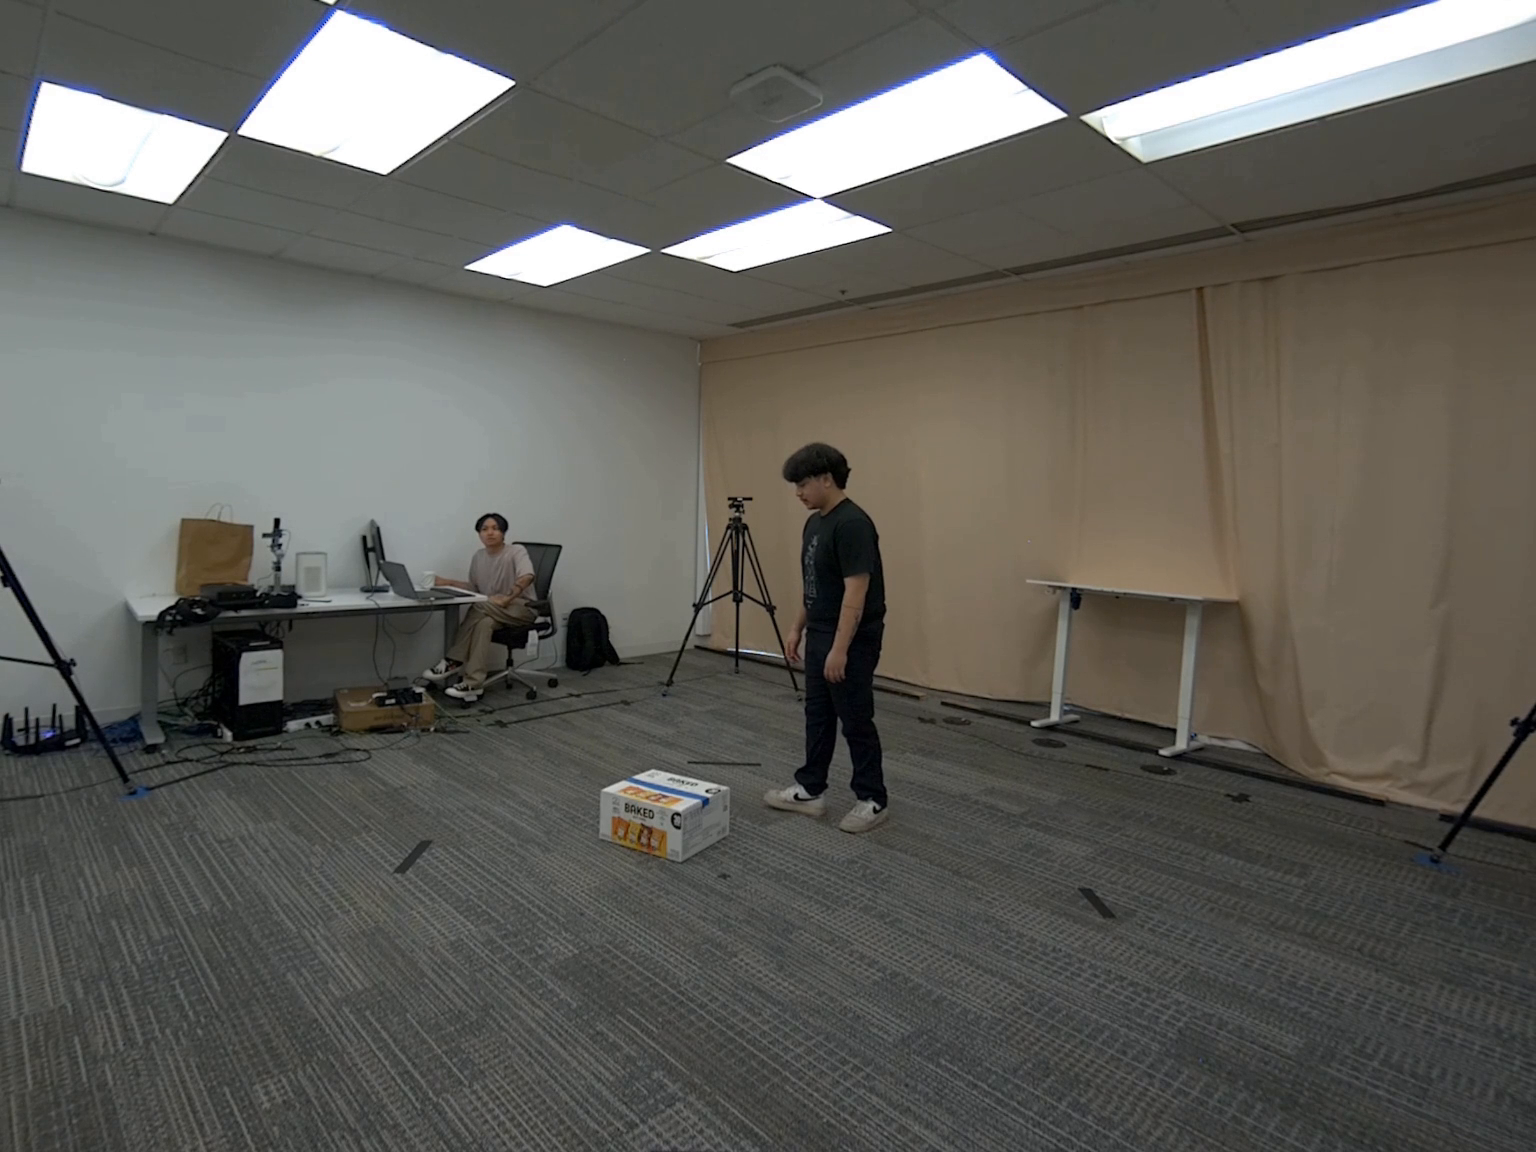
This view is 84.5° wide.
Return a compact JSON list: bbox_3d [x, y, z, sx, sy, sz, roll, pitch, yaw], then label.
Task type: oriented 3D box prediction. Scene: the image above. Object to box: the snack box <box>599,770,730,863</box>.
[{"bbox_3d":[-0.426,0.968,3.438,0.414,0.205,0.333,4,5,31],"label":"snack box"}]
